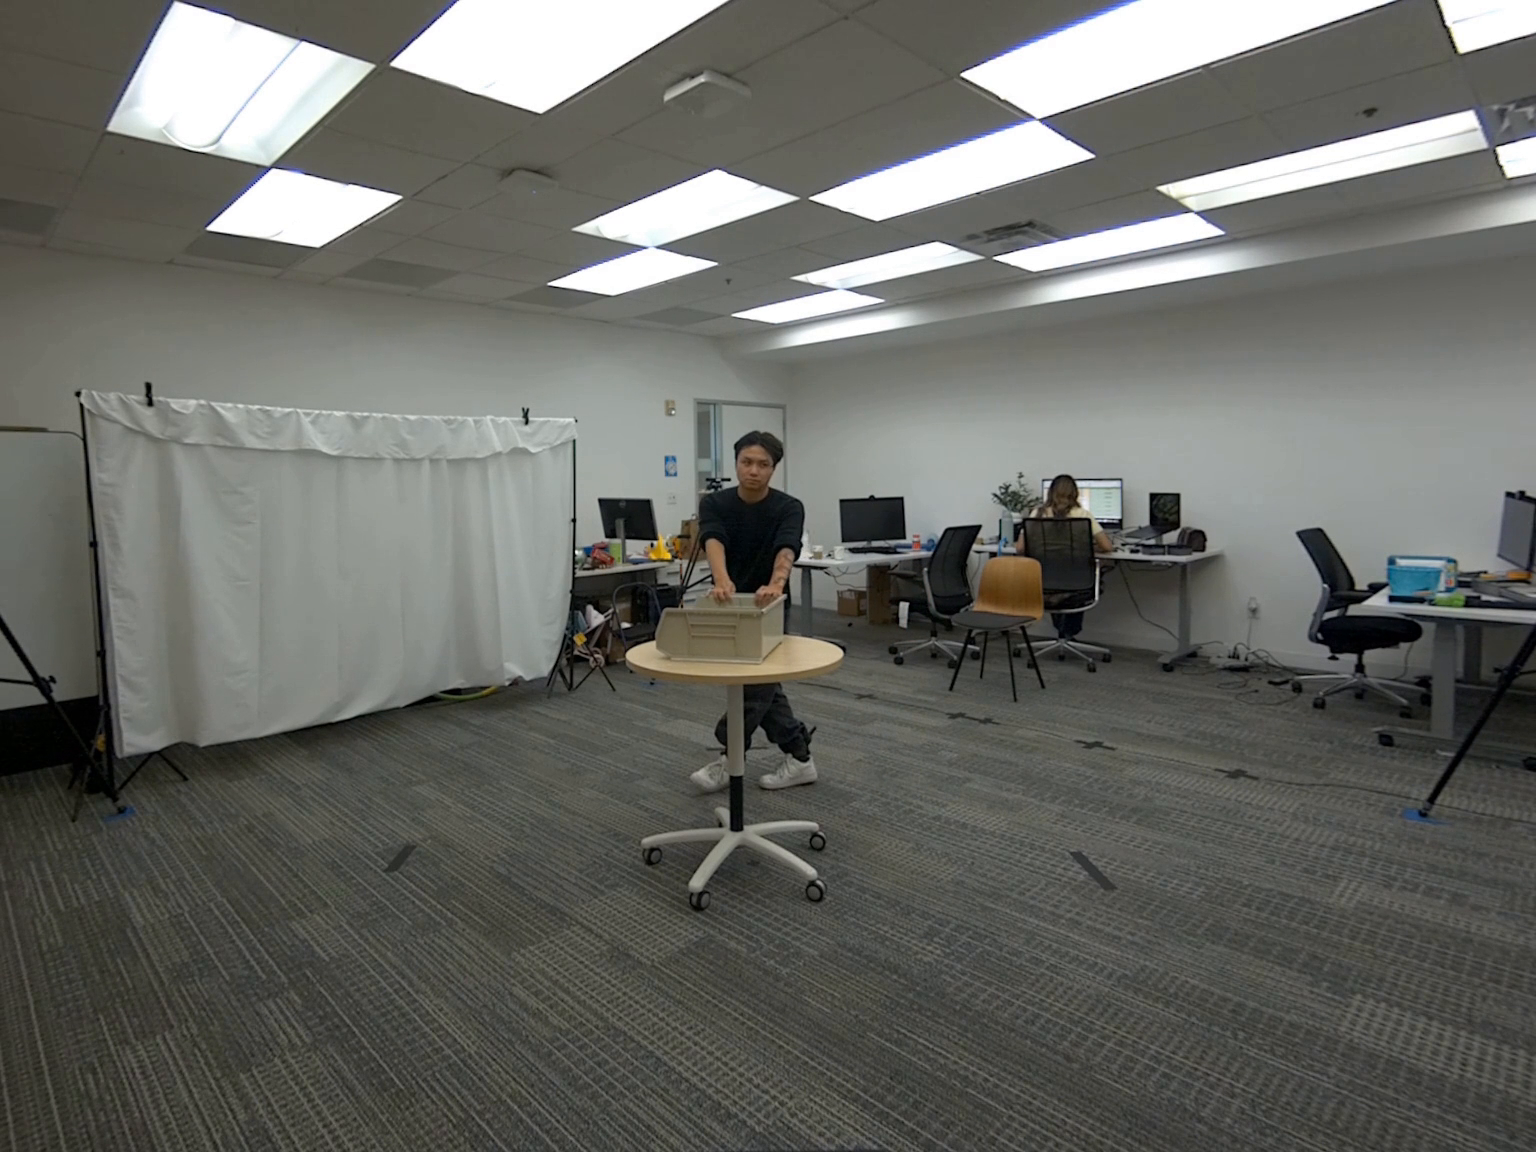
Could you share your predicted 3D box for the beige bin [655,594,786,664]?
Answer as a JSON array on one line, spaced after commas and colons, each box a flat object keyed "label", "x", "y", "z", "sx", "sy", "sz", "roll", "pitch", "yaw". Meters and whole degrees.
[{"label": "beige bin", "x": -0.156, "y": 0.178, "z": 3.043, "sx": 0.382, "sy": 0.188, "sz": 0.419, "roll": 3, "pitch": 6, "yaw": 11}]
